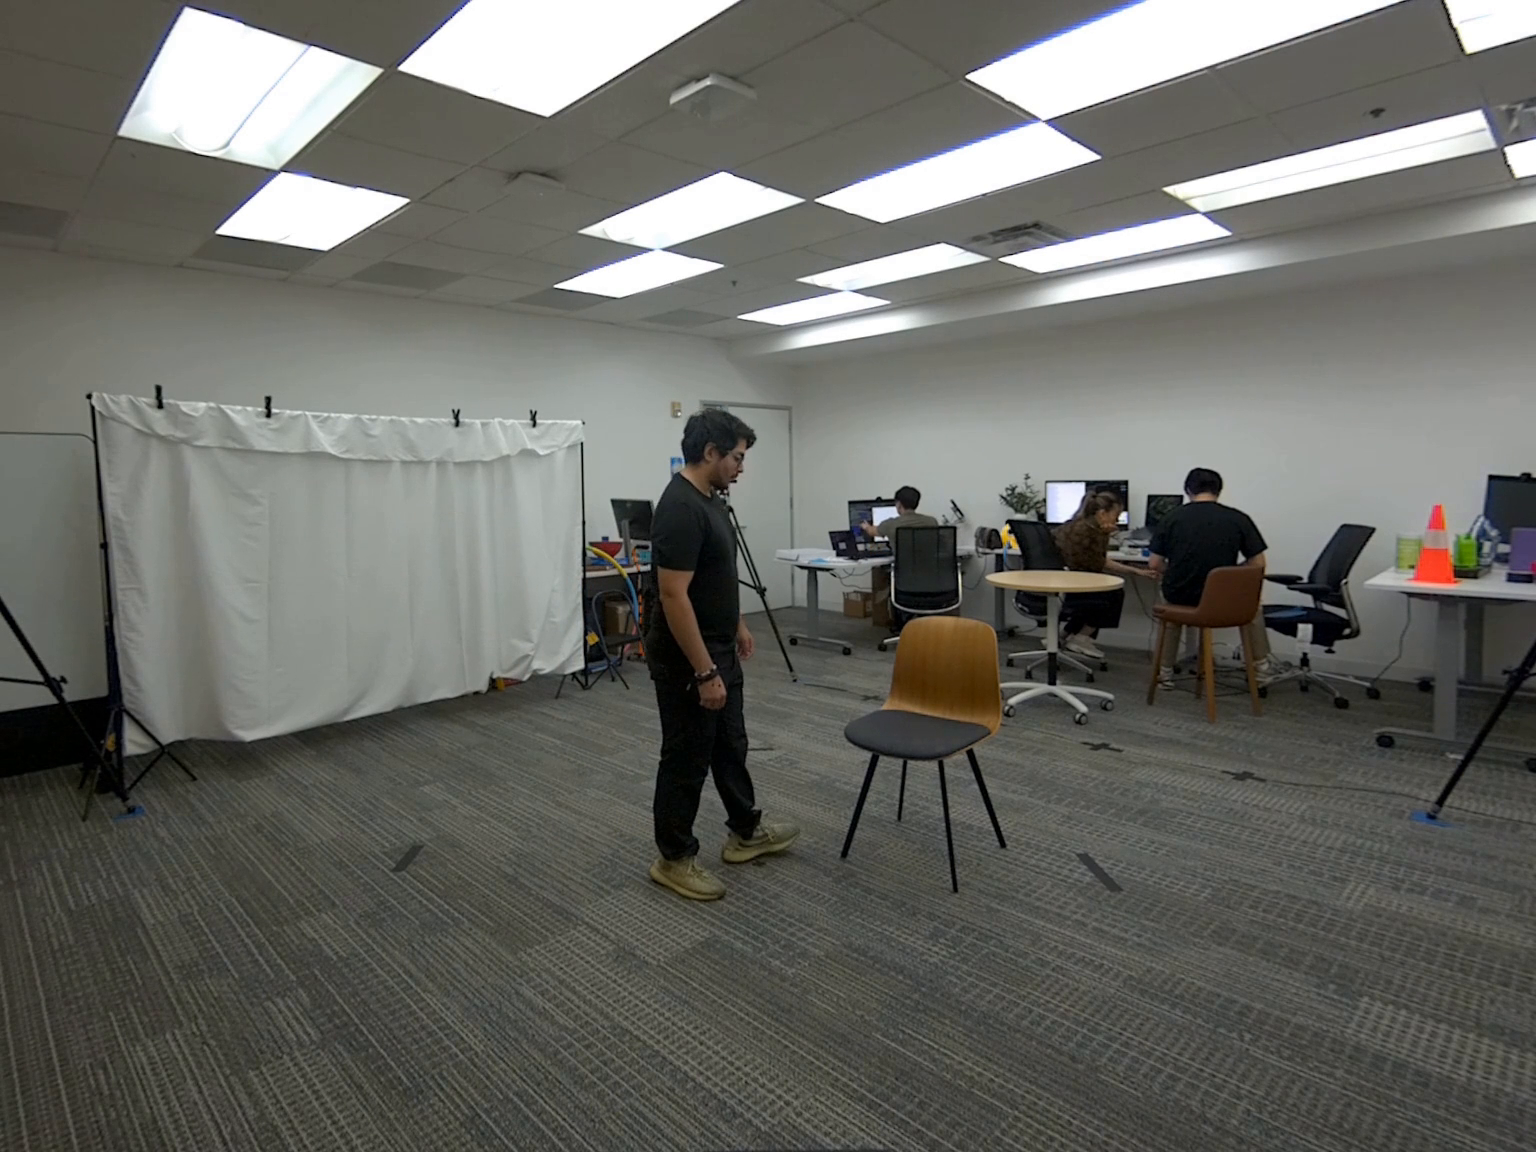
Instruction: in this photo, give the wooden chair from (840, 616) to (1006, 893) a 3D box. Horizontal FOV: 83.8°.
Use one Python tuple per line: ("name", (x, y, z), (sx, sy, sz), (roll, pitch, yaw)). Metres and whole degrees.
("wooden chair", (0.562, 0.602, 3.142), (0.492, 0.877, 0.508), (3, 1, 39))
